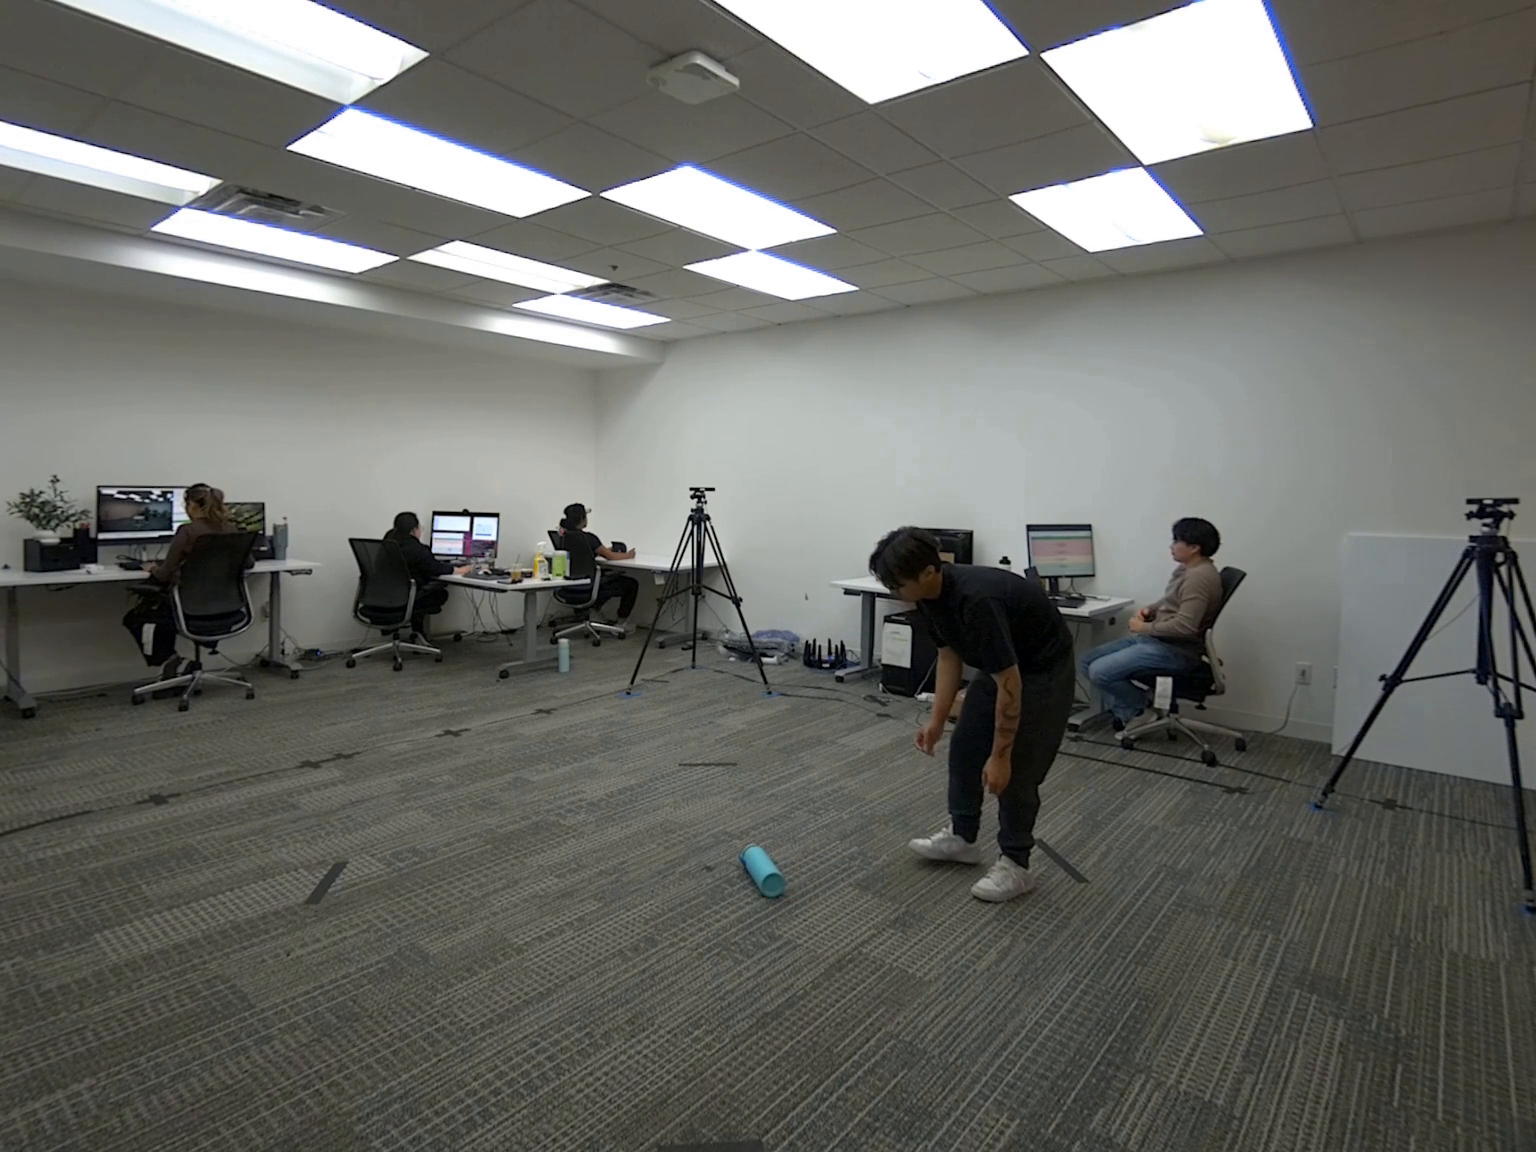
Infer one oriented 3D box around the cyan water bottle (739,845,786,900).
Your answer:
[{"bbox_3d":[-0.031,1.031,3.028,0.091,0.092,0.289,0,5,-17],"label":"cyan water bottle"}]
